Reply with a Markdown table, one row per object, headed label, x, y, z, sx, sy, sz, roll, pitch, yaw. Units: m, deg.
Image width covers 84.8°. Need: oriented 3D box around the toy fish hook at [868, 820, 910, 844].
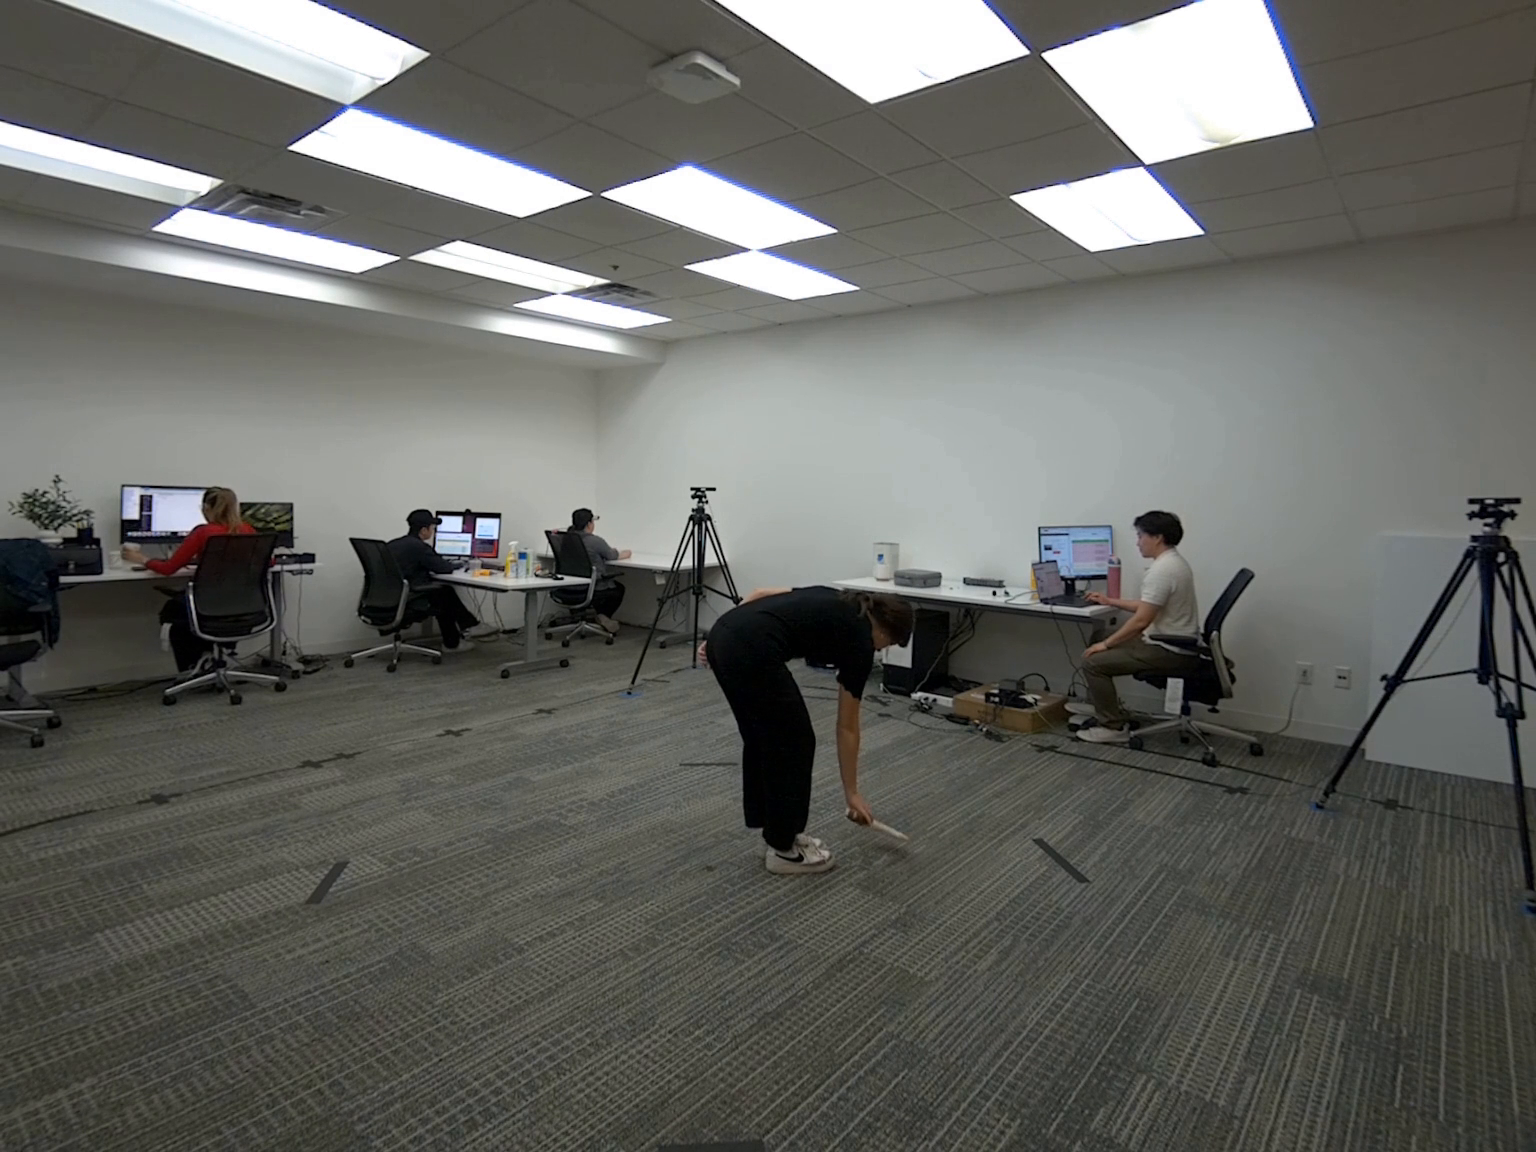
| label | x | y | z | sx | sy | sz | roll | pitch | yaw |
| --- | --- | --- | --- | --- | --- | --- | --- | --- | --- |
| toy fish hook | 0.388 | 0.914 | 3.144 | 0.231 | 0.049 | 0.489 | 13 | -14 | 23 |
